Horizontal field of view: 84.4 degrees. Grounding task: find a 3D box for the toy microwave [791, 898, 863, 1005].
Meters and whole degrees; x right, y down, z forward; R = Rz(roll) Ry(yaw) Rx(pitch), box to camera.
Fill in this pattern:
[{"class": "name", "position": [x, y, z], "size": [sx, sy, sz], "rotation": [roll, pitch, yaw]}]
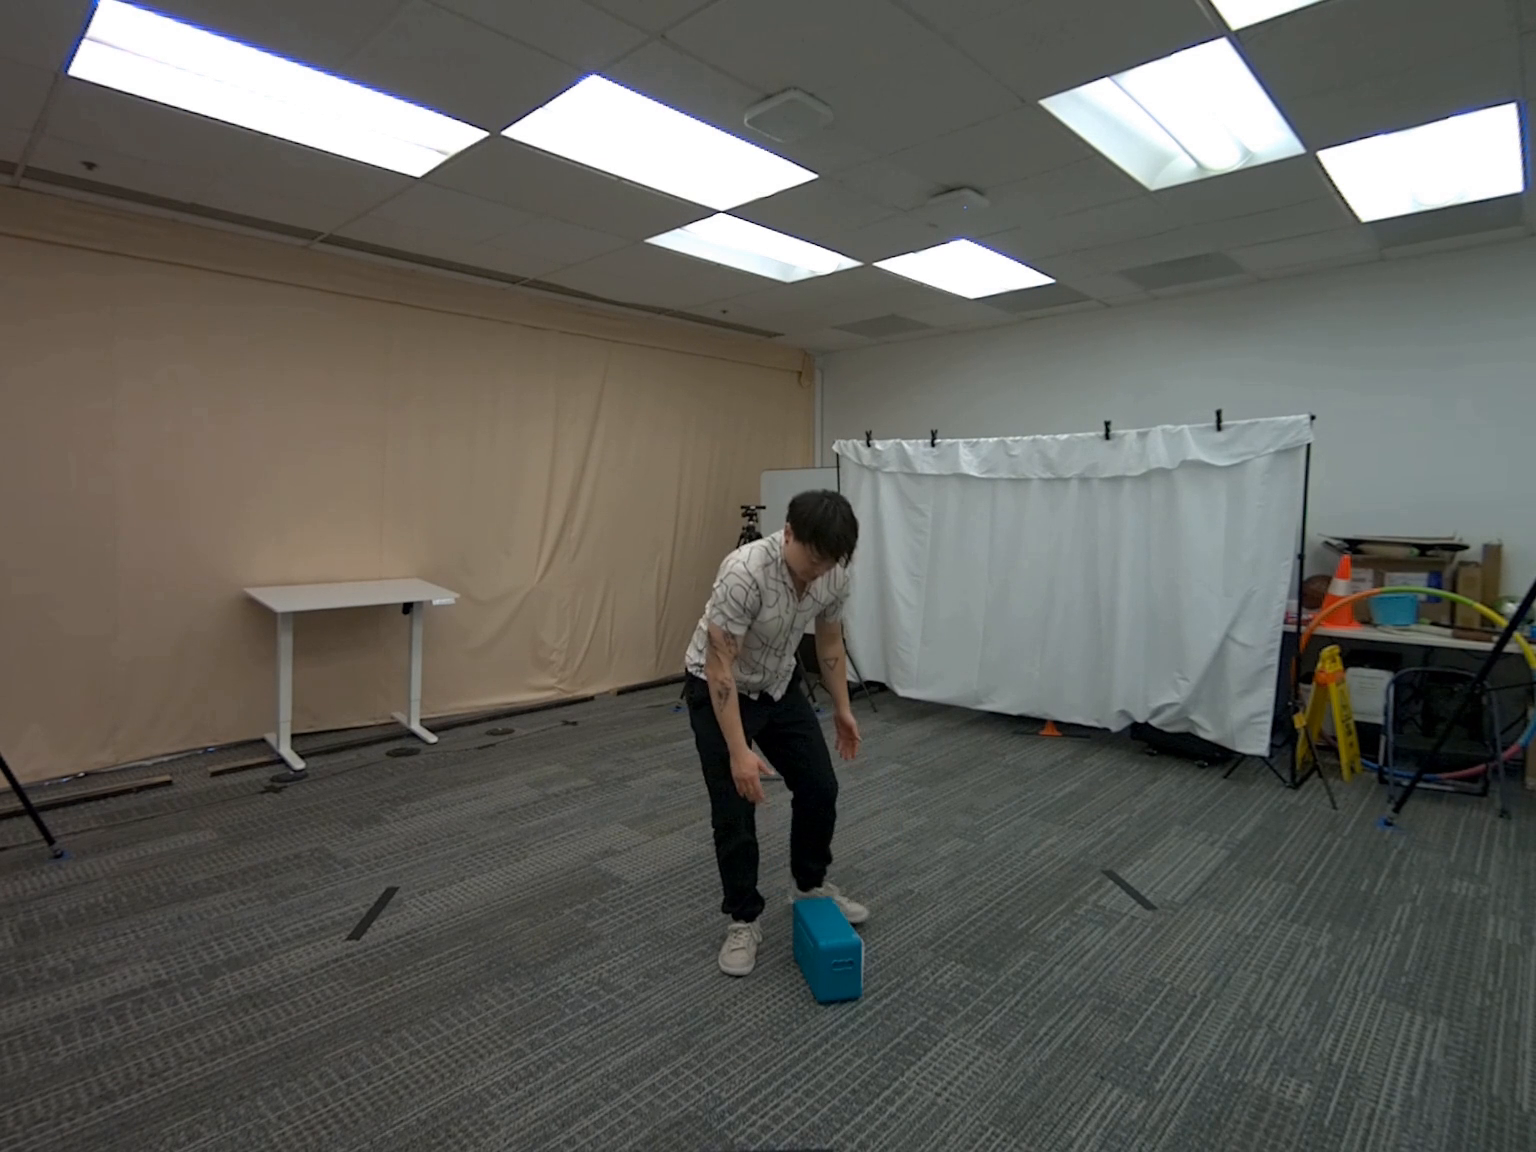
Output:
[{"class": "toy microwave", "position": [0.180, 1.095, 2.475], "size": [0.150, 0.184, 0.290], "rotation": [-1, 4, -12]}]
